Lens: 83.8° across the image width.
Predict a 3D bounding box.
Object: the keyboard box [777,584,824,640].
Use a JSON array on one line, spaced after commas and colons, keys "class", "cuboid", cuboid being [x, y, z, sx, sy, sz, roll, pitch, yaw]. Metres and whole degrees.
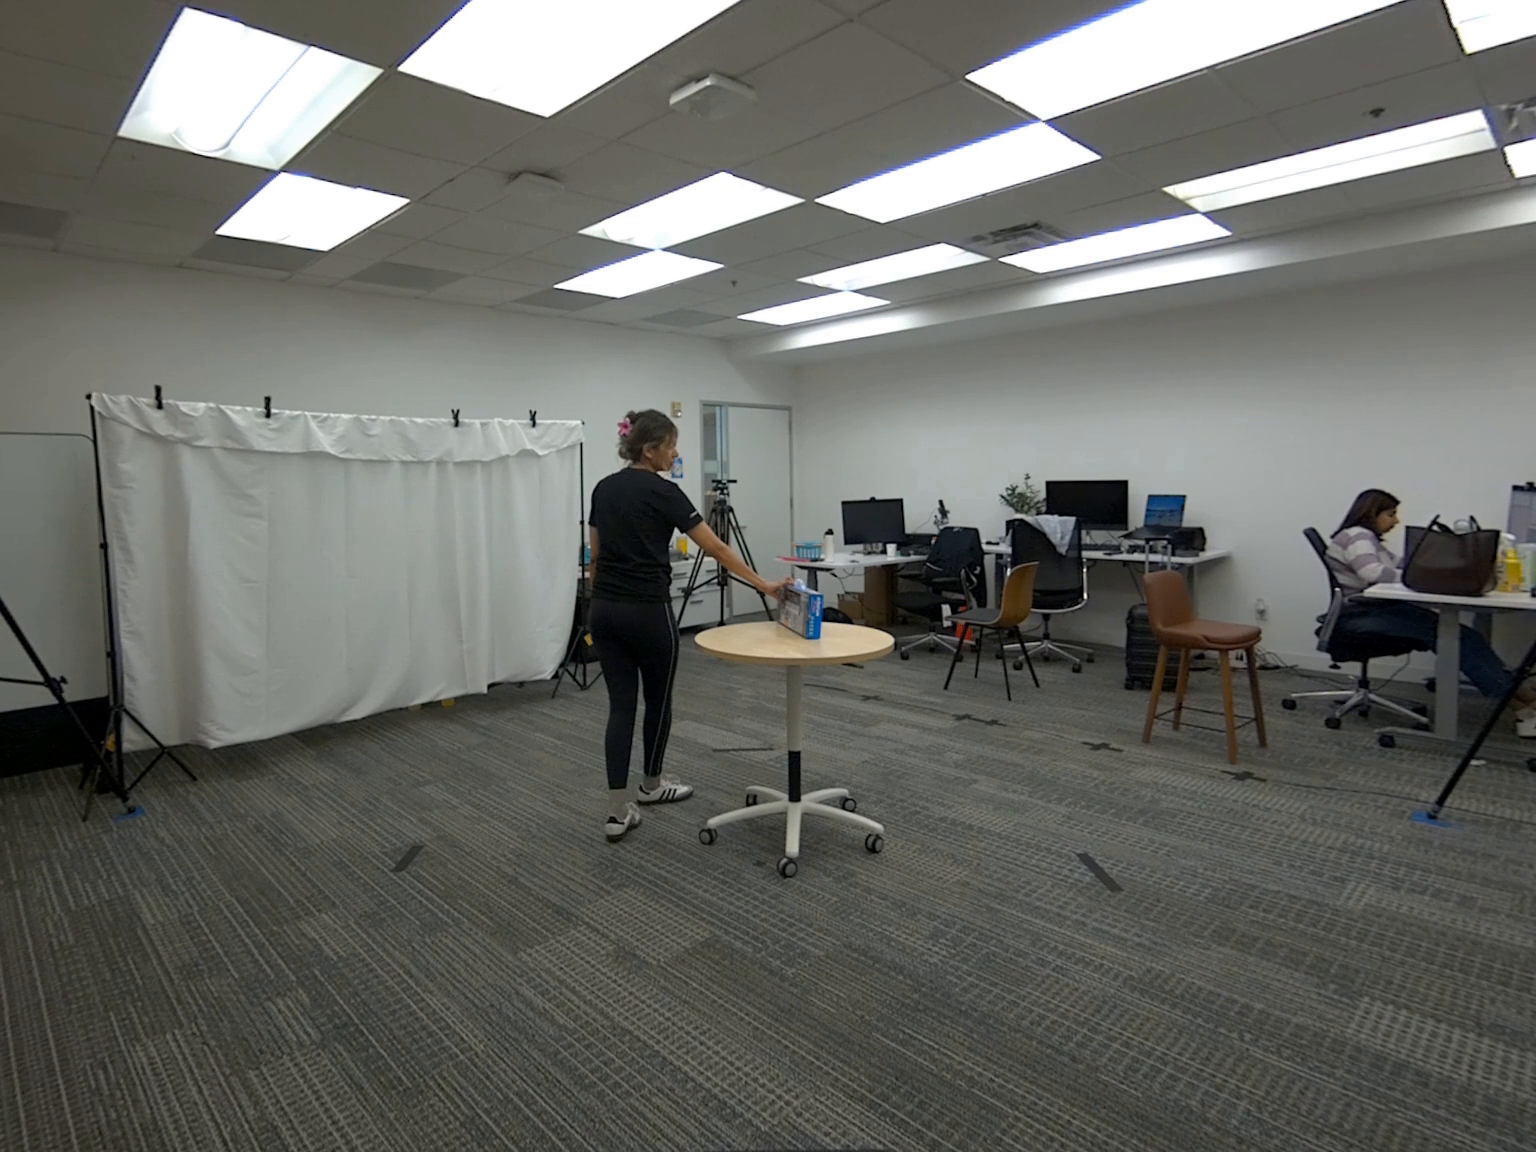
[{"class": "keyboard box", "cuboid": [0.121, 0.135, 3.464, 0.058, 0.175, 0.443, 3, 5, -13]}]
